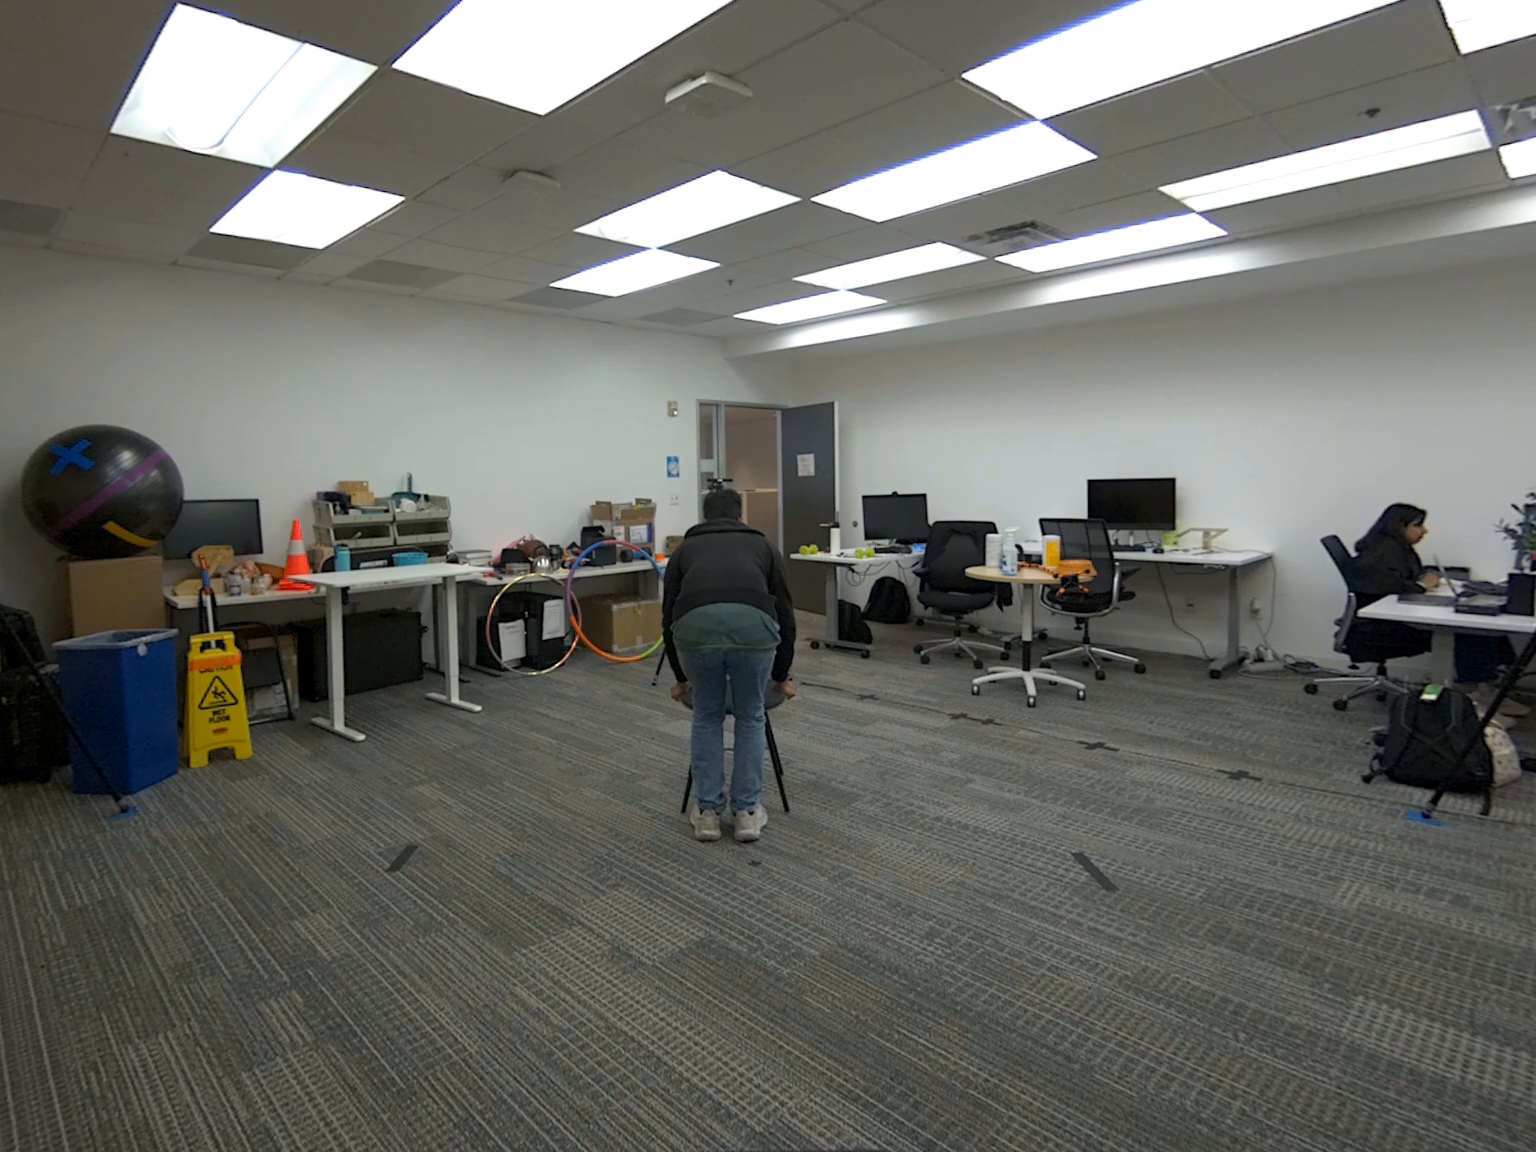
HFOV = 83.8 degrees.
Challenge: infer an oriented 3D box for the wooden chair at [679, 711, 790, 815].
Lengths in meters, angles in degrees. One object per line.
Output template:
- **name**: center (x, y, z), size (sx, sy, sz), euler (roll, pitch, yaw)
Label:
- **wooden chair**: center (-0.144, 0.534, 3.758), size (0.478, 0.877, 0.523), euler (-1, 1, 0)
